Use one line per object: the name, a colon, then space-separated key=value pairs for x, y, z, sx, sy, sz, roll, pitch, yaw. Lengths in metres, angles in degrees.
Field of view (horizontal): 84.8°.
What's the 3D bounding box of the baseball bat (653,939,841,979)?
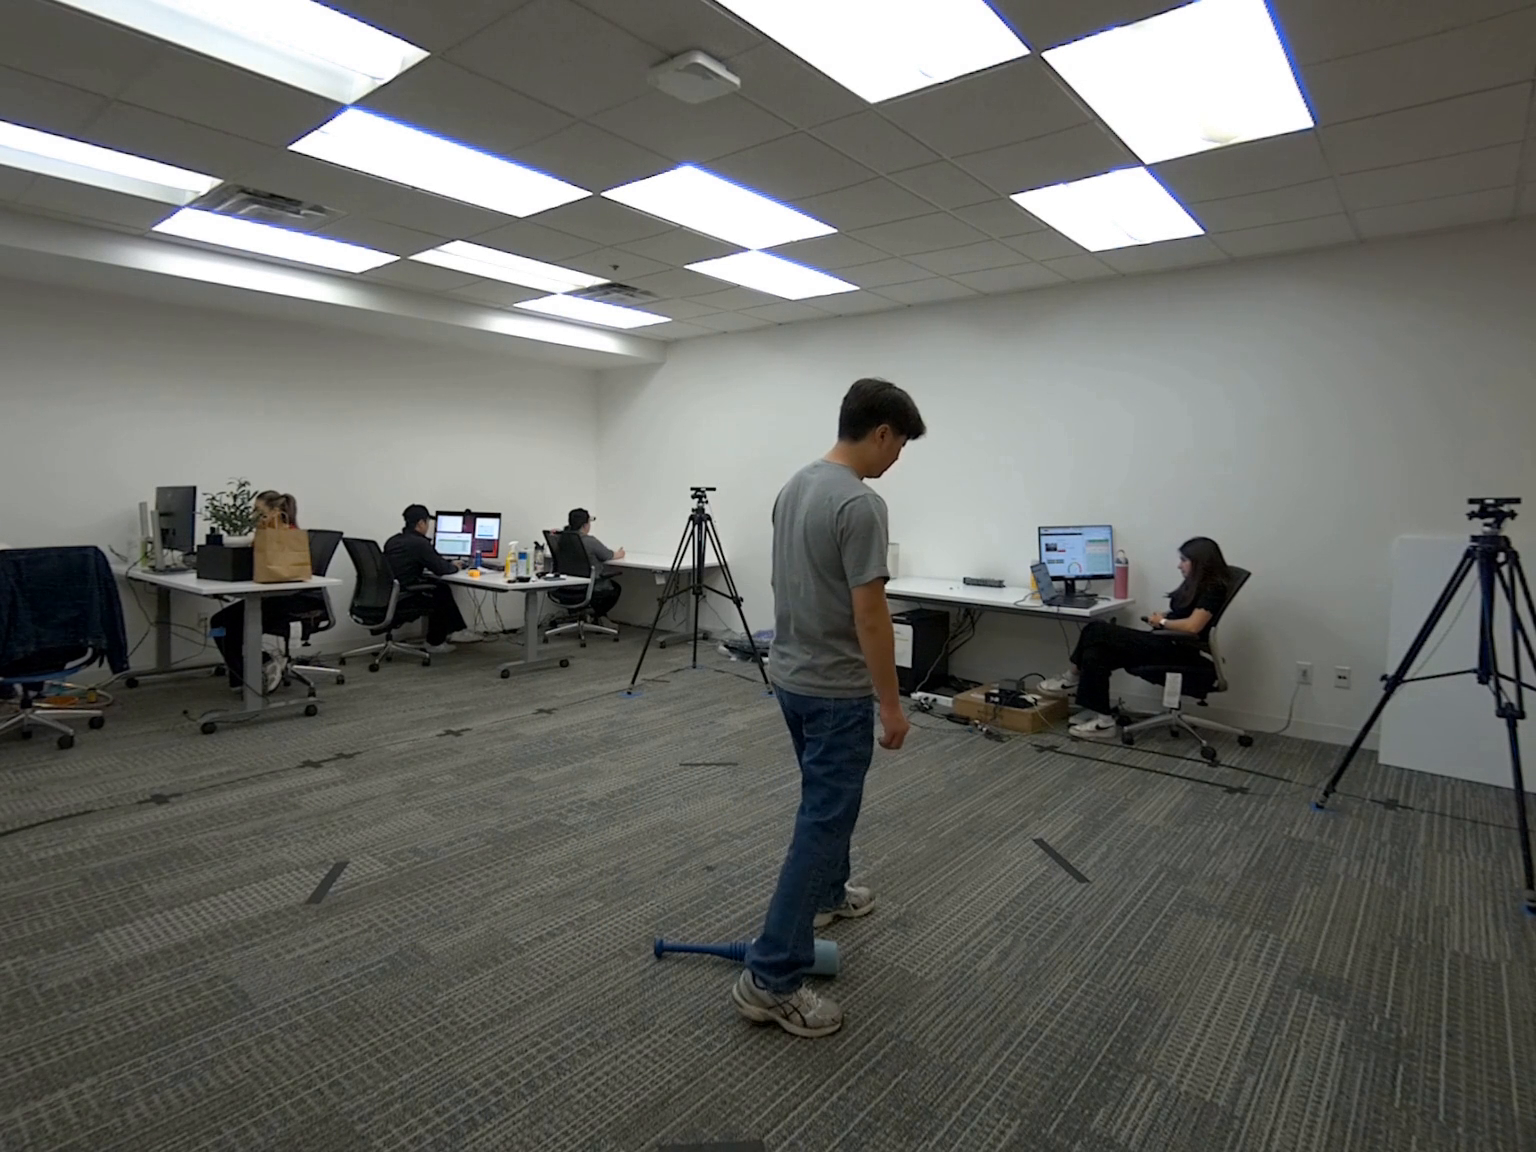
baseball bat: x=-0.072 y=1.096 z=2.475 sx=0.548 sy=0.089 sz=0.088 roll=-1 pitch=4 yaw=9
